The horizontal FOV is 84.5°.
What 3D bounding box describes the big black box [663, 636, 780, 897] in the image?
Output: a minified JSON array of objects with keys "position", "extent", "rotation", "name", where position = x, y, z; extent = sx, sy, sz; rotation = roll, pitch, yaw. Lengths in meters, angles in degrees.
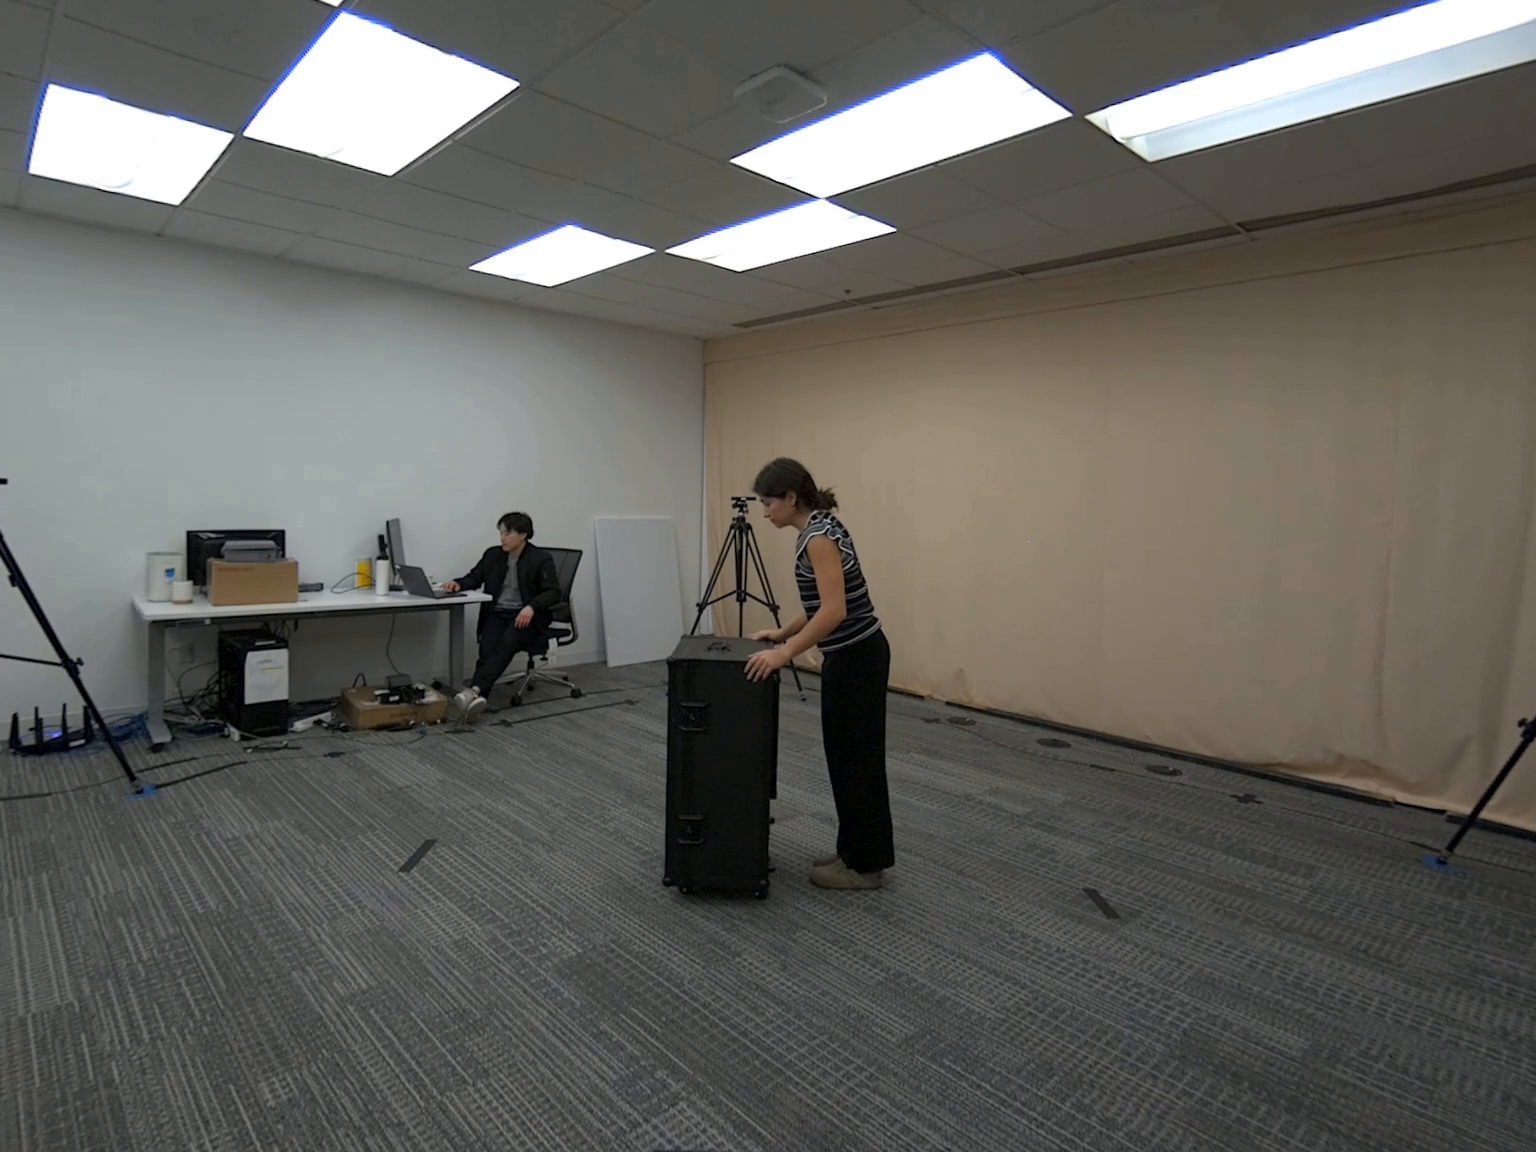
[{"position":[-0.160,0.685,3.070],"extent":[0.397,0.860,0.521],"rotation":[2,3,2],"name":"big black box"}]
